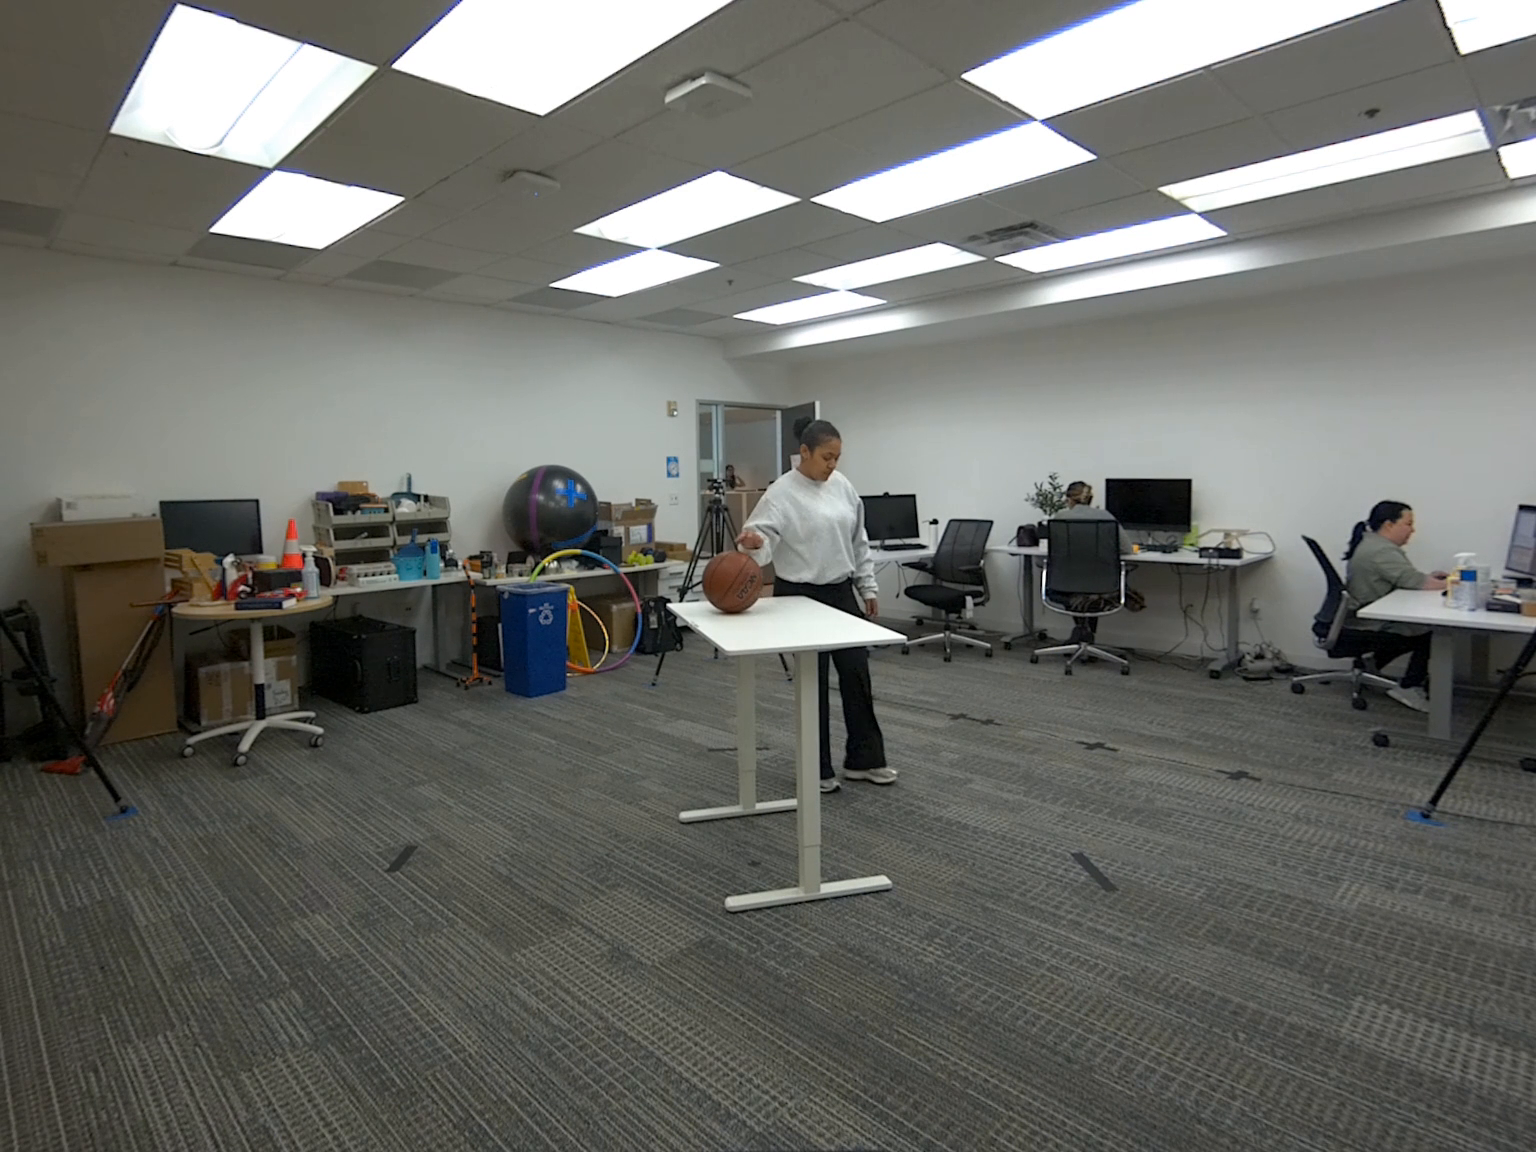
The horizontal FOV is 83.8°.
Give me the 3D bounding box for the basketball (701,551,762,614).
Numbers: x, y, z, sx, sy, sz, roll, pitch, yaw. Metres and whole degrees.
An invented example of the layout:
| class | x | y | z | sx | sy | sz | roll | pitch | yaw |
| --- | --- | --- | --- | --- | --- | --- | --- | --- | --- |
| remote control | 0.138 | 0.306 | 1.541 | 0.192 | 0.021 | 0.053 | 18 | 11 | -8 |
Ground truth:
| class | x | y | z | sx | sy | sz | roll | pitch | yaw |
| --- | --- | --- | --- | --- | --- | --- | --- | --- | --- |
| basketball | -0.131 | 0.021 | 3.297 | 0.236 | 0.235 | 0.237 | -1 | 5 | -2 |
